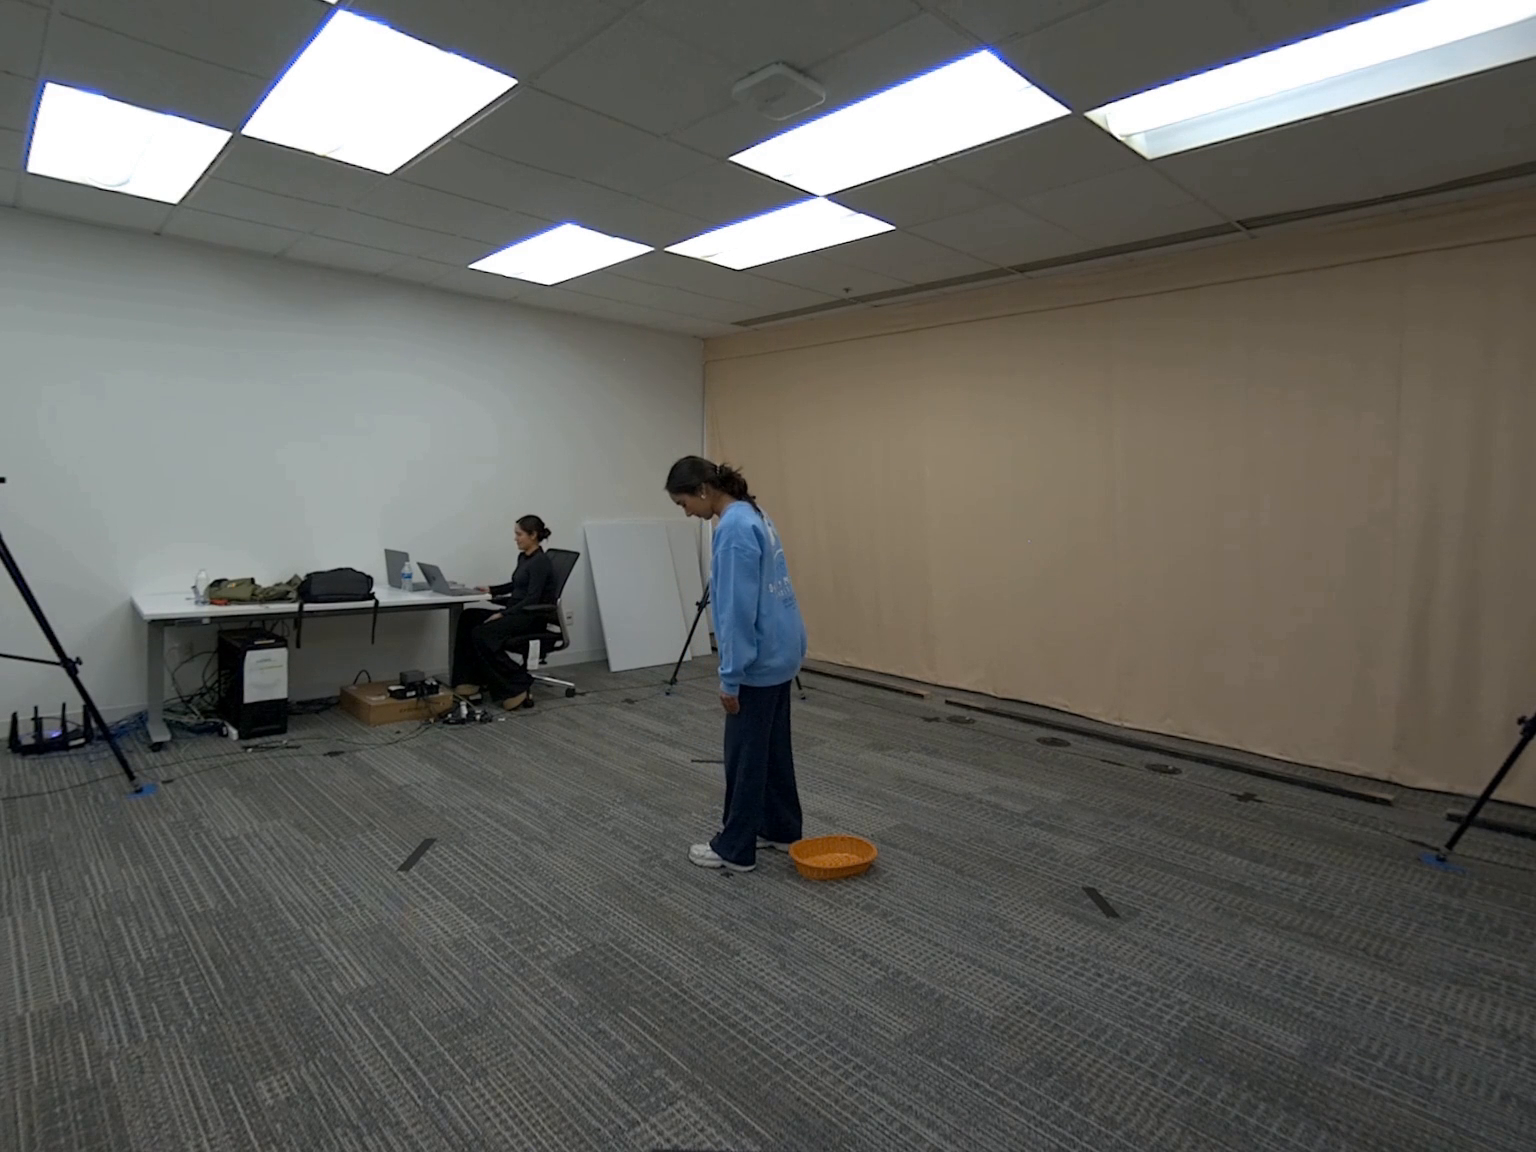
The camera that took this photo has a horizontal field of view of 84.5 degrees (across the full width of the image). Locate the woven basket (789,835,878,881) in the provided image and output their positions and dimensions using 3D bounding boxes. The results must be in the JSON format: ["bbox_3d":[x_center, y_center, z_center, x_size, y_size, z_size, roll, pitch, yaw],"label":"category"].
[{"bbox_3d":[0.234,1.067,3.175,0.344,0.073,0.257,0,6,-23],"label":"woven basket"}]
